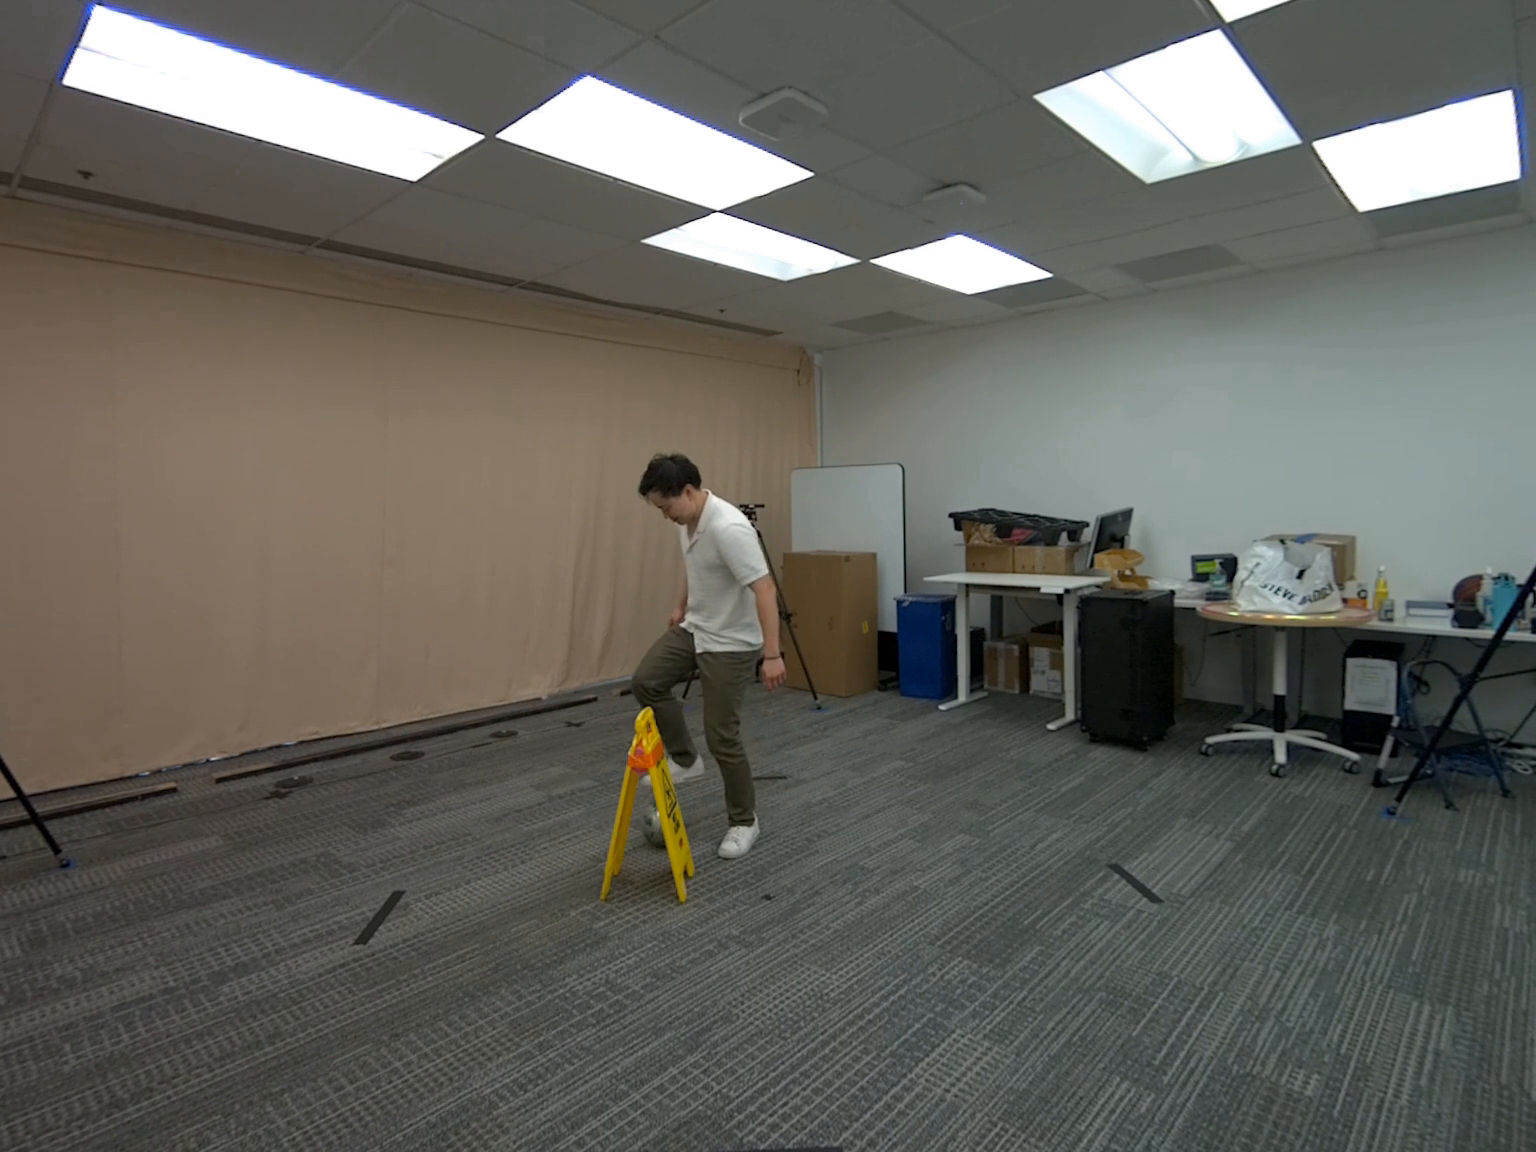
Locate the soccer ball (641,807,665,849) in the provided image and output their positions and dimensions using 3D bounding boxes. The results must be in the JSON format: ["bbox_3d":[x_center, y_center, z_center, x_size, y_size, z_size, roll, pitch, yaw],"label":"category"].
[{"bbox_3d":[-0.424,1.021,3.474,0.187,0.187,0.188,-1,4,-2],"label":"soccer ball"}]
